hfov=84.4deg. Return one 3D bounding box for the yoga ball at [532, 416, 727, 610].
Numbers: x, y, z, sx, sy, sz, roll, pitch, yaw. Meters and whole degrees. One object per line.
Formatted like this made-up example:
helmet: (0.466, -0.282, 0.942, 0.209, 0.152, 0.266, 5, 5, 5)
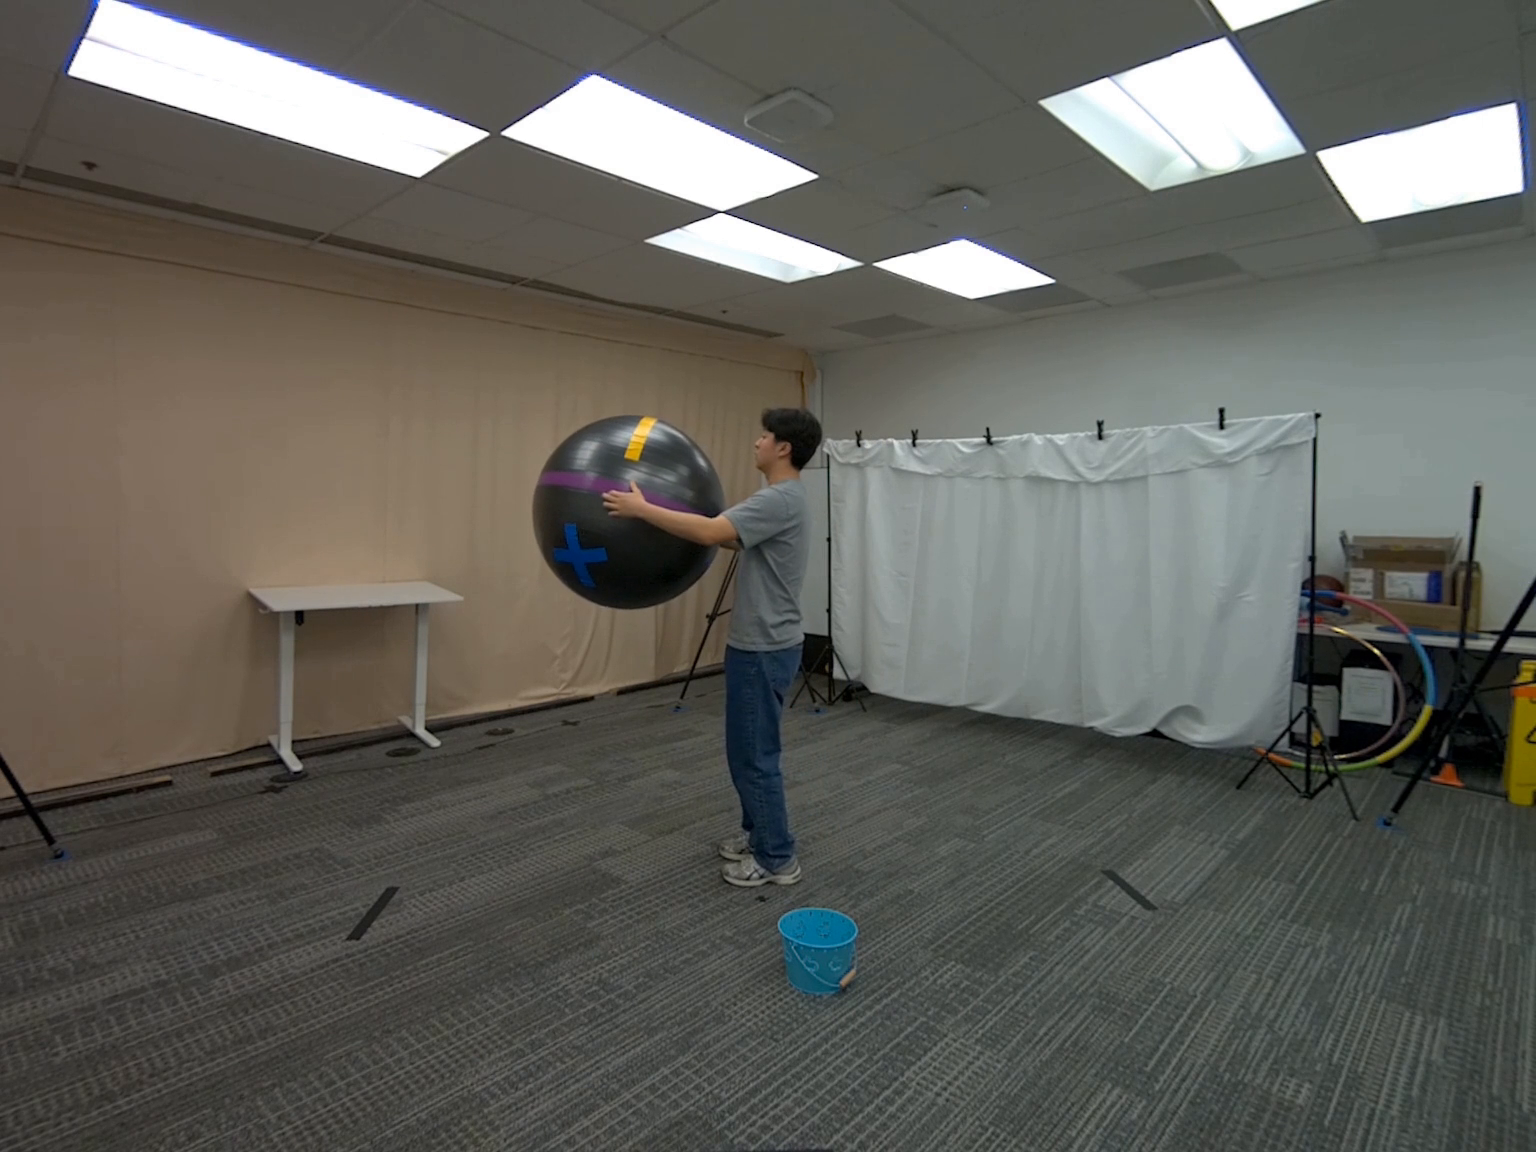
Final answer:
yoga ball: (-0.552, -0.239, 3.334, 0.757, 0.756, 0.761, 0, 4, -2)
